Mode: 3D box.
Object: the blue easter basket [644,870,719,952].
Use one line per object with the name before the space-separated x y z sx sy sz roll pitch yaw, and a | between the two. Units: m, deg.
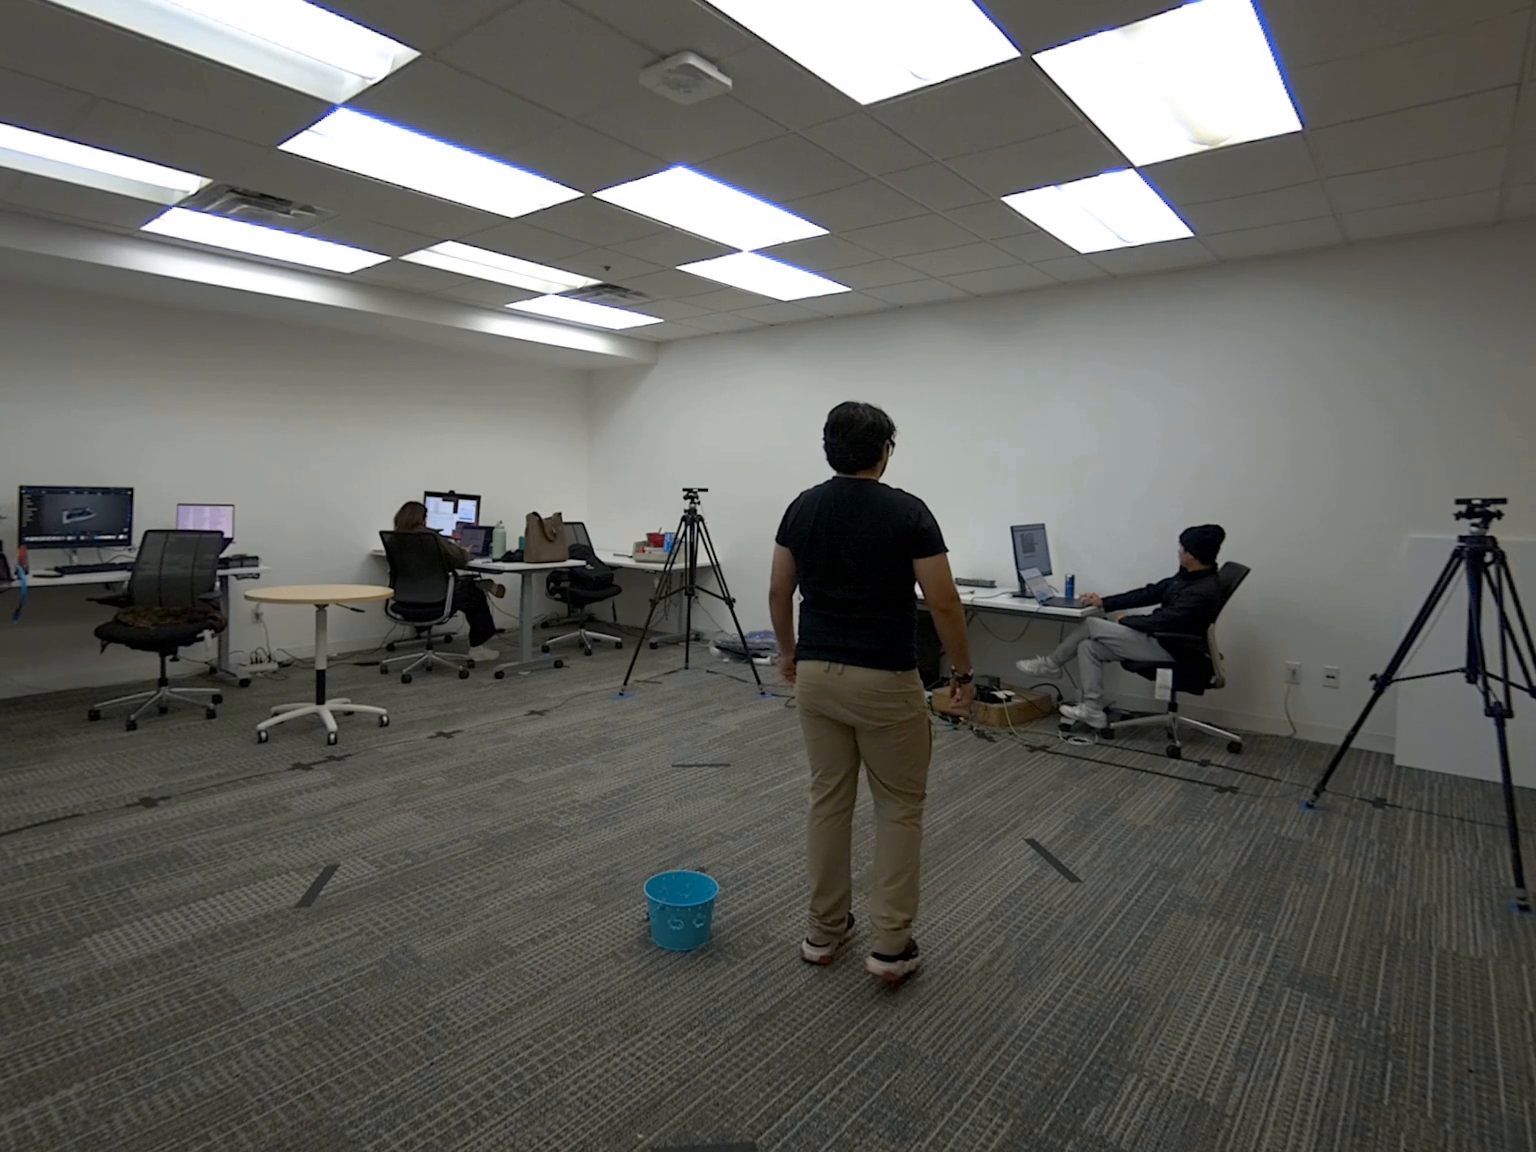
blue easter basket | -0.277 1.035 2.643 0.243 0.155 0.245 1 4 -2
